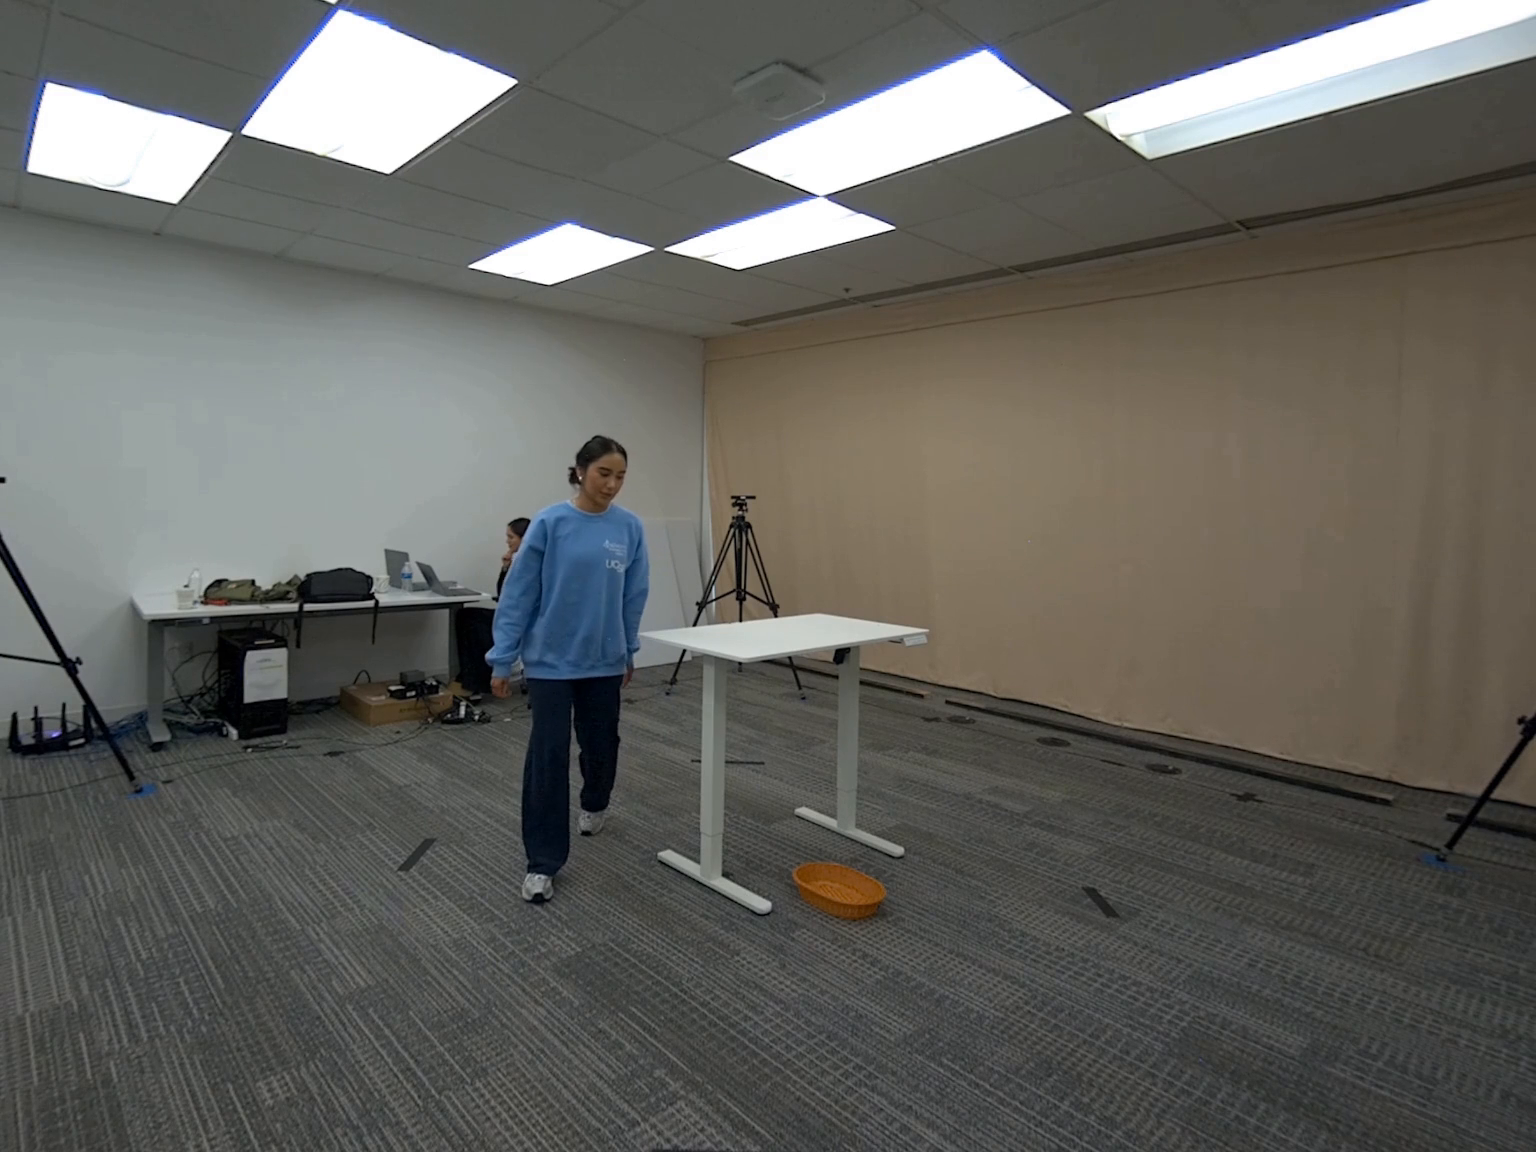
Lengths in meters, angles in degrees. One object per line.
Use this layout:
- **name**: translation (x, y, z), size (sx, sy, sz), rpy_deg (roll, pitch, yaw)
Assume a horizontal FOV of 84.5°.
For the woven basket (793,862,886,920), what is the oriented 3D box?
- **woven basket**: translation (0.234, 1.086, 2.913), size (0.246, 0.073, 0.359), rpy_deg (-2, 6, -40)
